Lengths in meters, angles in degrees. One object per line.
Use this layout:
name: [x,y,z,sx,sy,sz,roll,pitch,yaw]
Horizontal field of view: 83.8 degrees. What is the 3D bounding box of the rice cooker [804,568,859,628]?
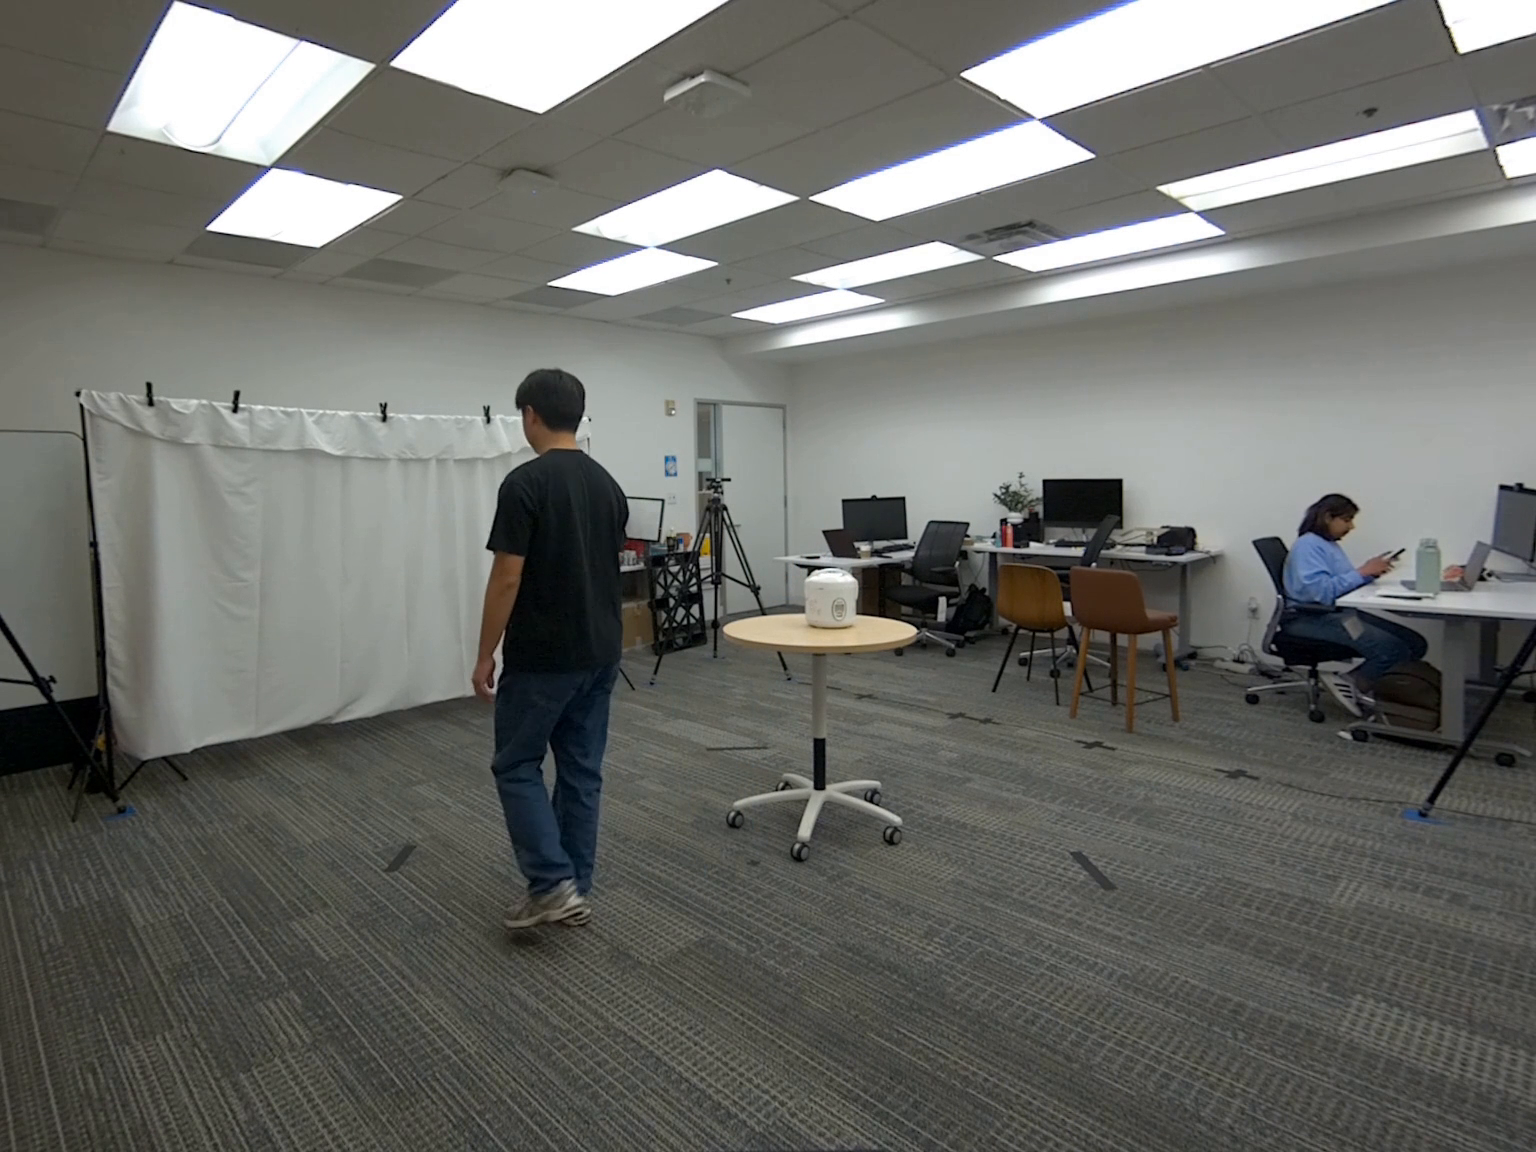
rice cooker: [0.258,0.083,3.462,0.218,0.232,0.221,-2,5,-13]
